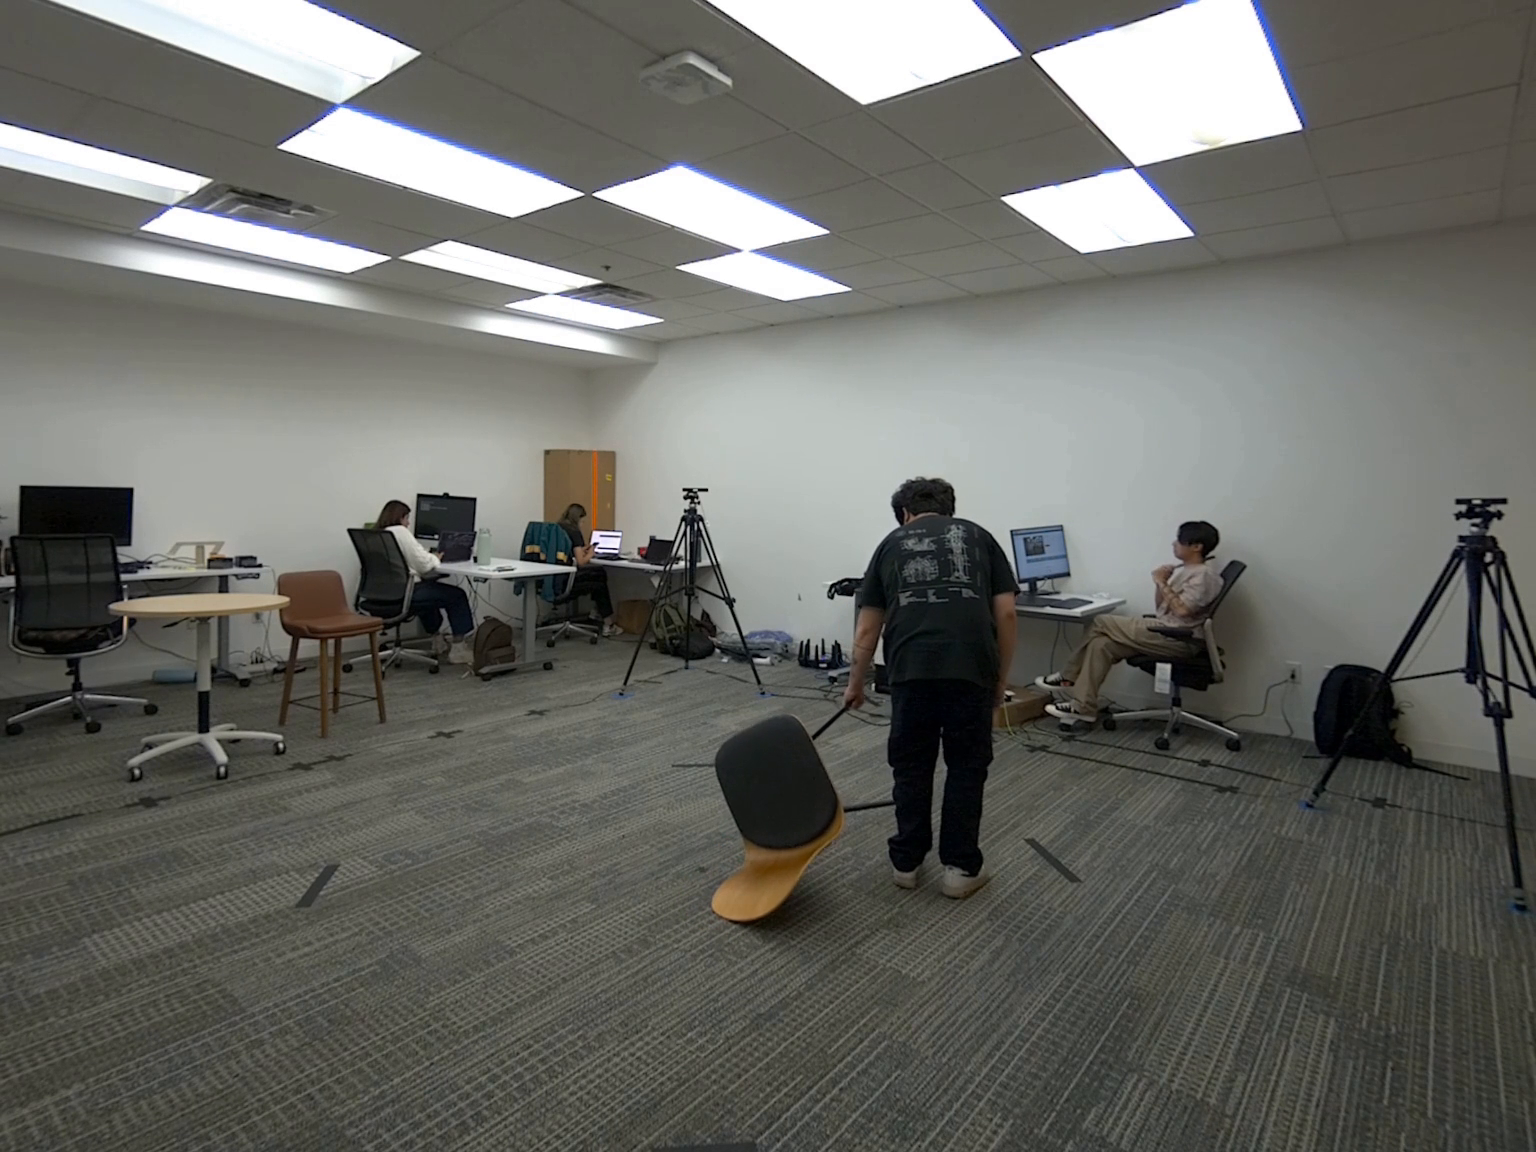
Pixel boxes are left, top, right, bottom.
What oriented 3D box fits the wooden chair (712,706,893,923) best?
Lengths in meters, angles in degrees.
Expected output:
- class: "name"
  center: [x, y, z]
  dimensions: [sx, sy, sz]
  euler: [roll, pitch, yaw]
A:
- class: "wooden chair"
  center: [0.056, 0.785, 3.071]
  dimensions: [0.483, 0.530, 0.857]
  euler: [-33, -10, 33]
